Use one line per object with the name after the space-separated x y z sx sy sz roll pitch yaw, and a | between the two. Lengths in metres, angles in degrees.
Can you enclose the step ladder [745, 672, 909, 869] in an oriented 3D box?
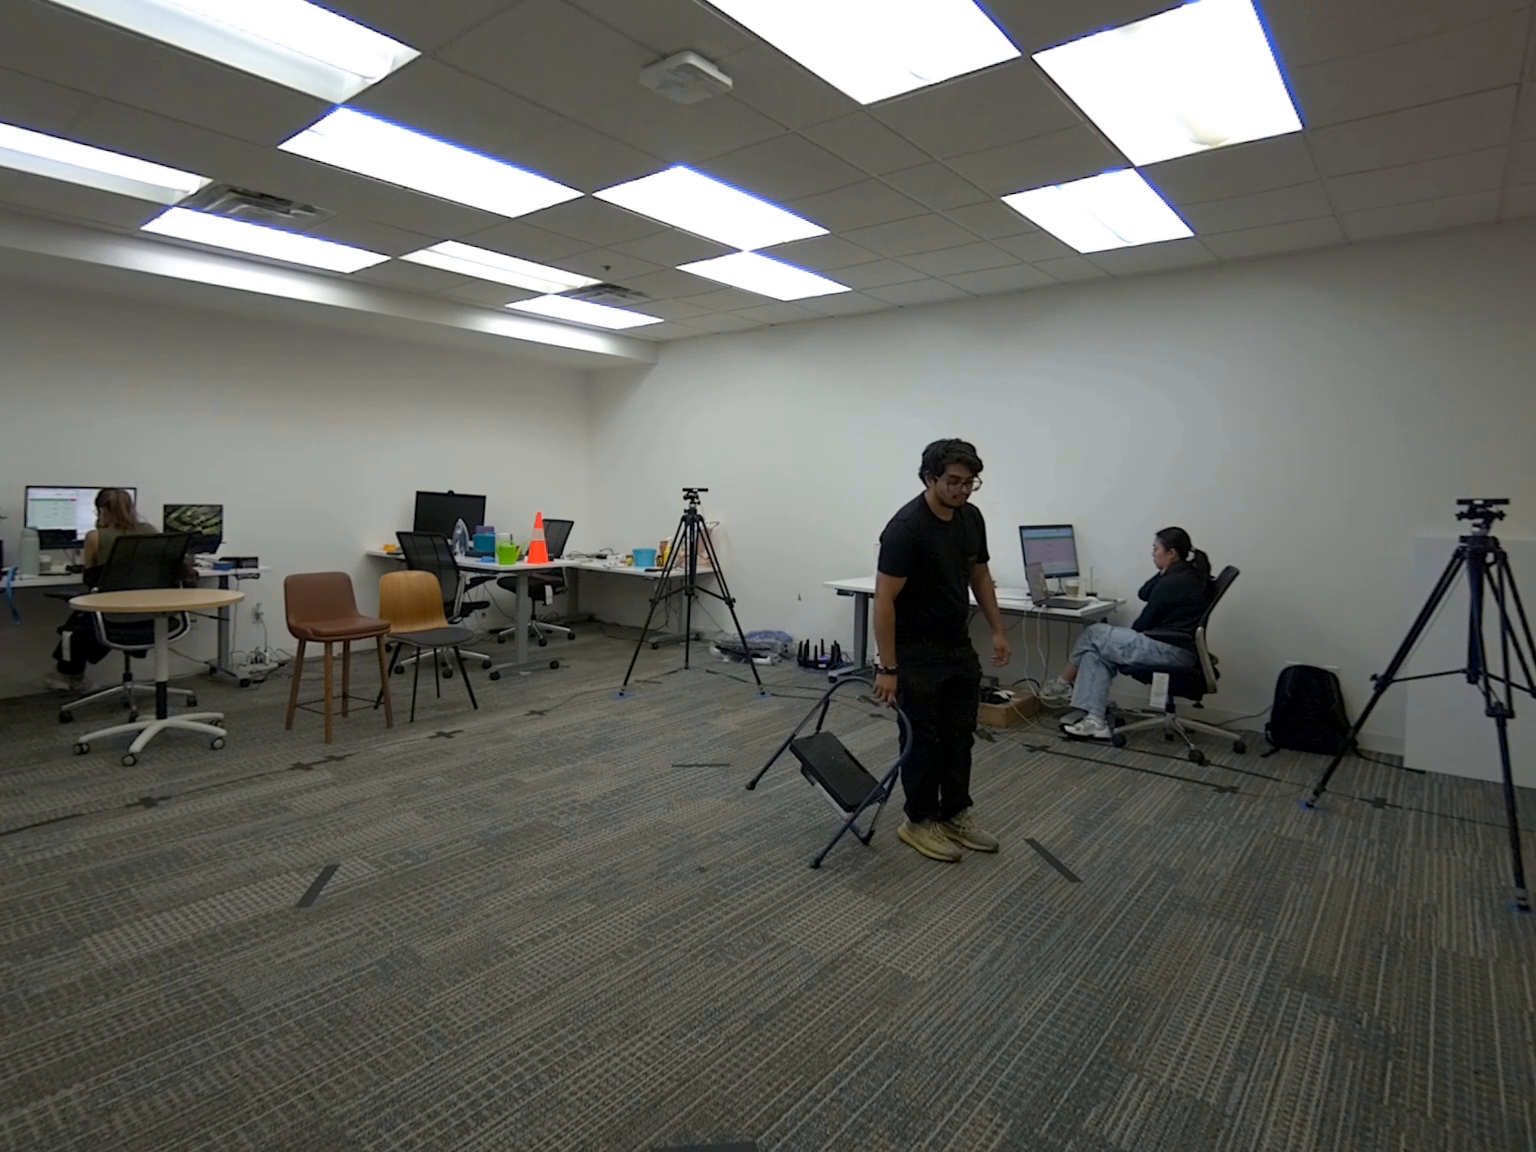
0.269 0.704 3.266 0.338 0.600 0.448 -2 36 -46 | step ladder
